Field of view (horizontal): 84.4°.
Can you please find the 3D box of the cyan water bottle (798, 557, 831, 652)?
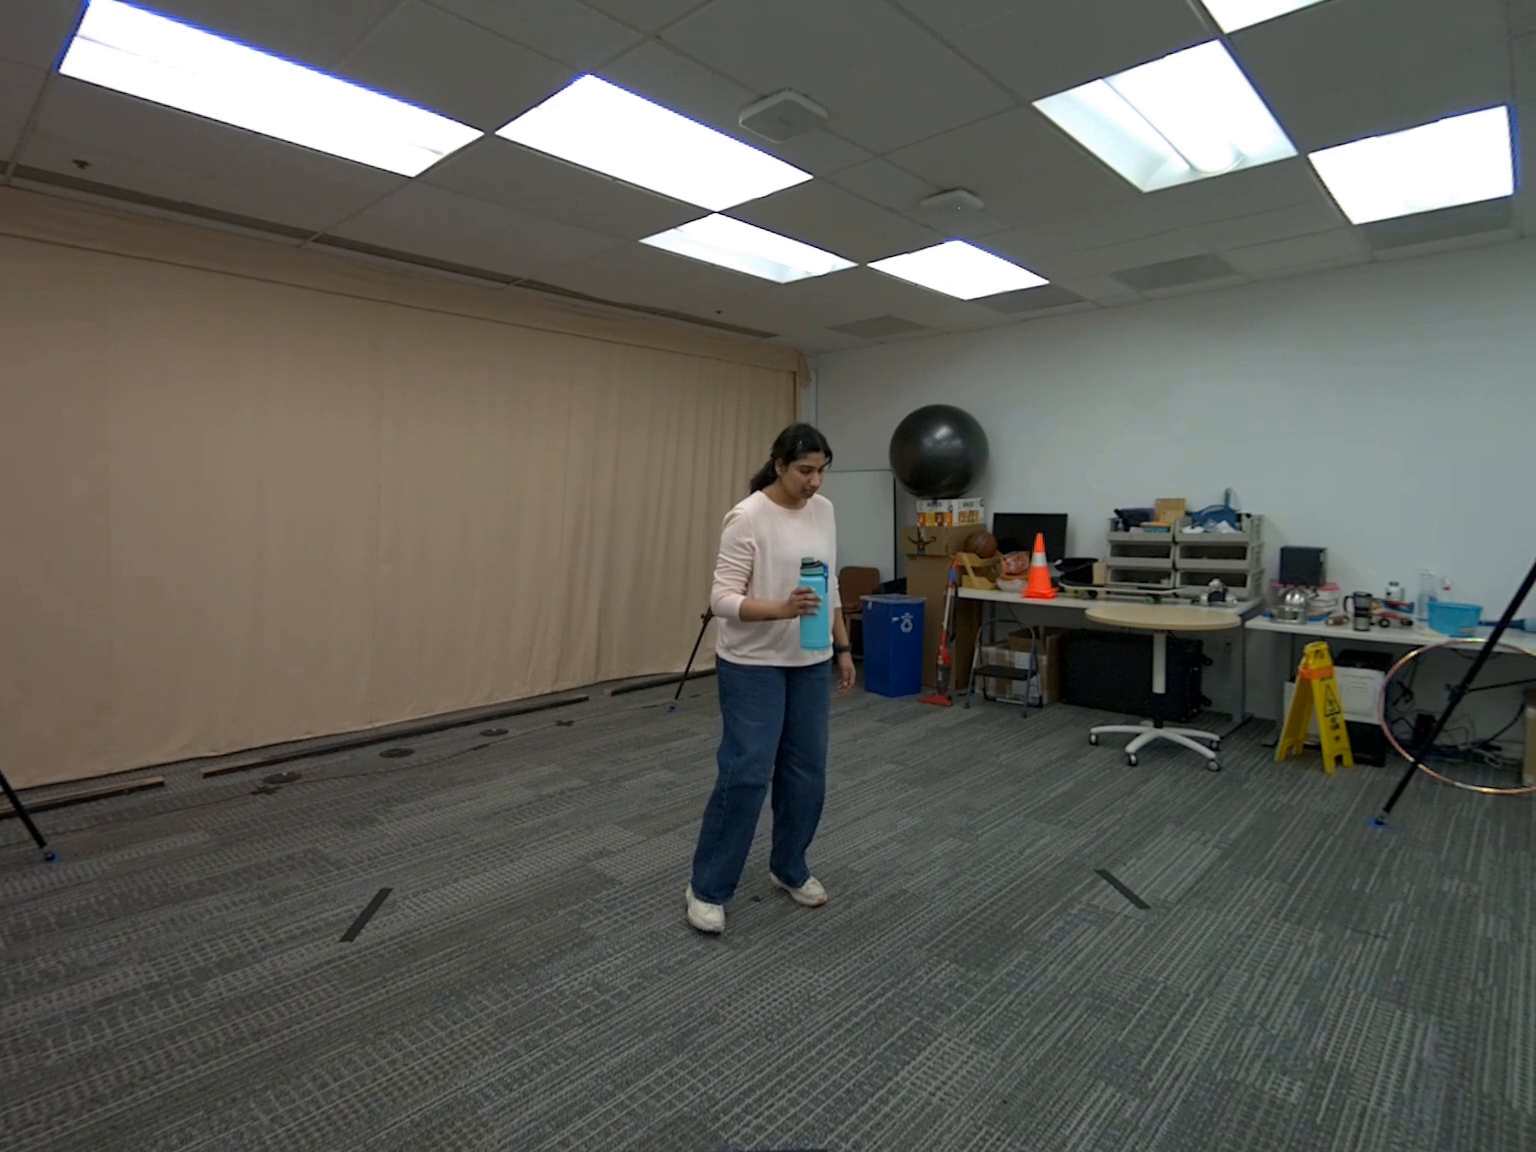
[{"bbox_3d":[0.135,0.085,2.592,0.092,0.282,0.093,-1,6,-2],"label":"cyan water bottle"}]
